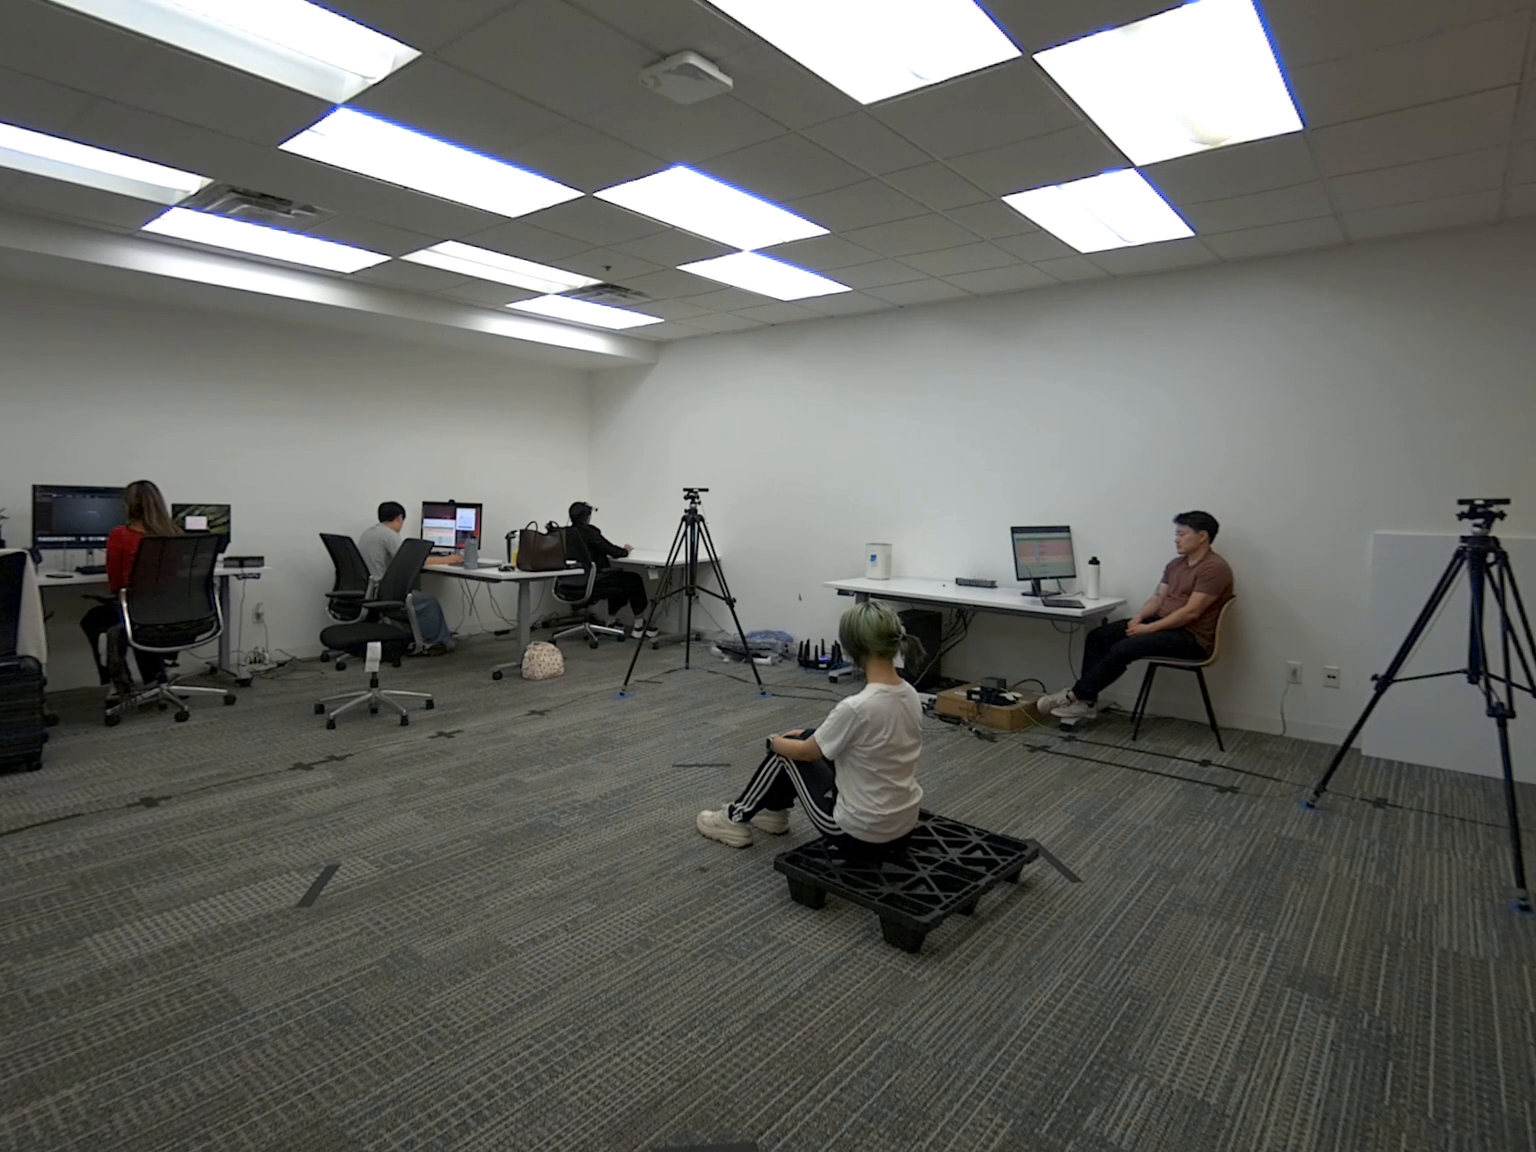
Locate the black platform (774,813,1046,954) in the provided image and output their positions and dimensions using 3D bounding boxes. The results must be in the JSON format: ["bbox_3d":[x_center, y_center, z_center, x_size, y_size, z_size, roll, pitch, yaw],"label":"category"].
[{"bbox_3d":[0.485,1.030,2.983,0.626,0.143,0.781,6,7,43],"label":"black platform"}]
